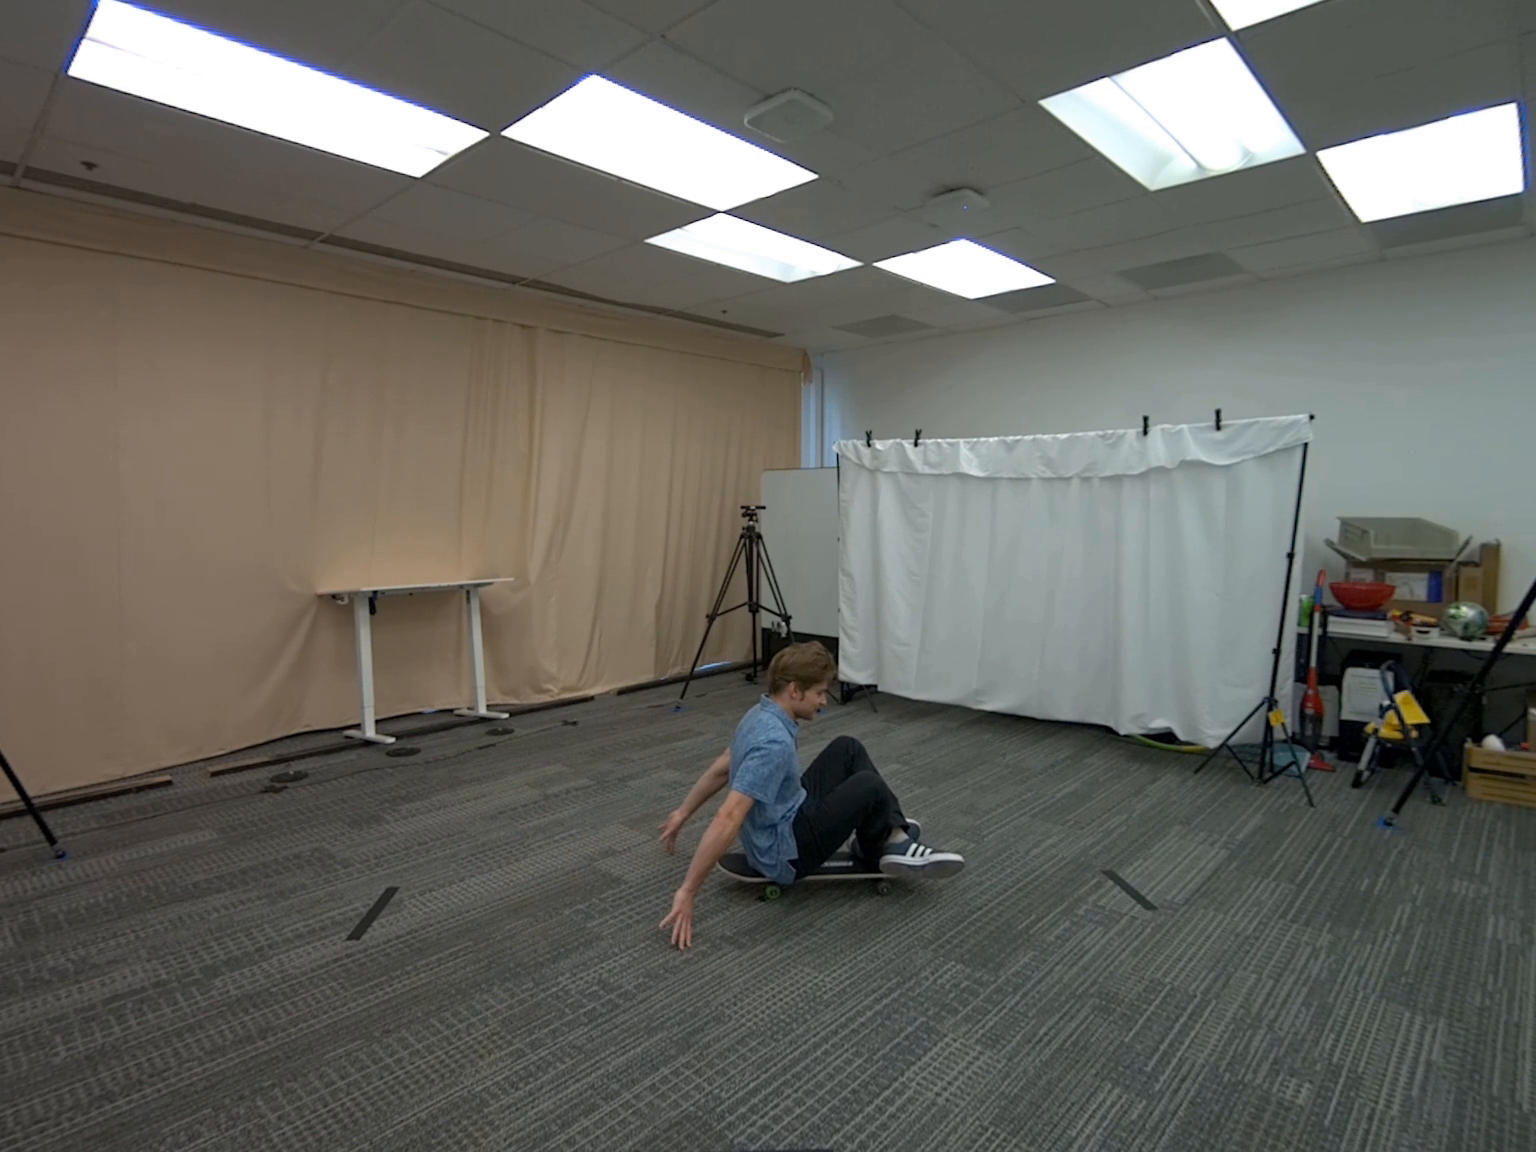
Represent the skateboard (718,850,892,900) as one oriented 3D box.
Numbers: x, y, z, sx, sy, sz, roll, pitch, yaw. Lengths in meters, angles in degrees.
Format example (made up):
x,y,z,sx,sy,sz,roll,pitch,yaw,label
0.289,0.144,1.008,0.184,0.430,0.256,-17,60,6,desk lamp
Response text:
x,y,z,sx,sy,sz,roll,pitch,yaw,label
0.218,1.089,3.073,0.783,0.110,0.195,-1,6,-3,skateboard
